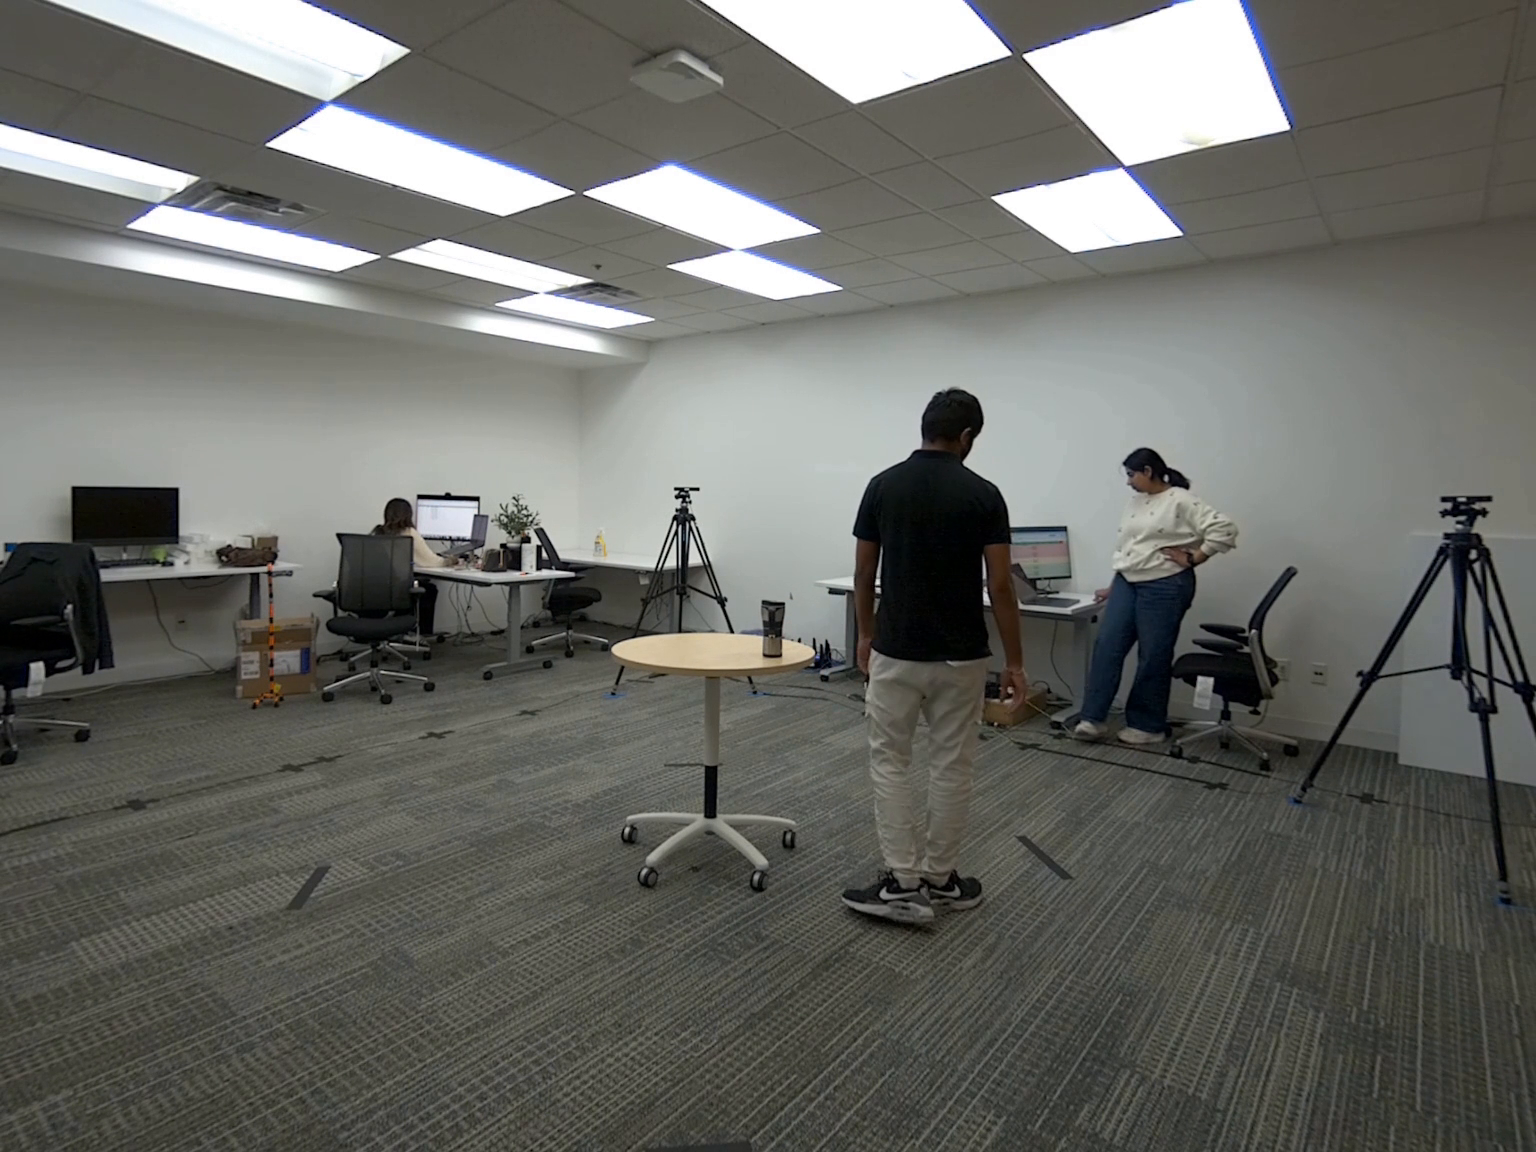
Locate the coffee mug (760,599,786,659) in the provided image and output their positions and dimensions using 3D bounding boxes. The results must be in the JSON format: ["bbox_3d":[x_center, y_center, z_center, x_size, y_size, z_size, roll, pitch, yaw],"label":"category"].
[{"bbox_3d":[-0.007,0.190,3.062,0.090,0.203,0.118,4,1,29],"label":"coffee mug"}]
